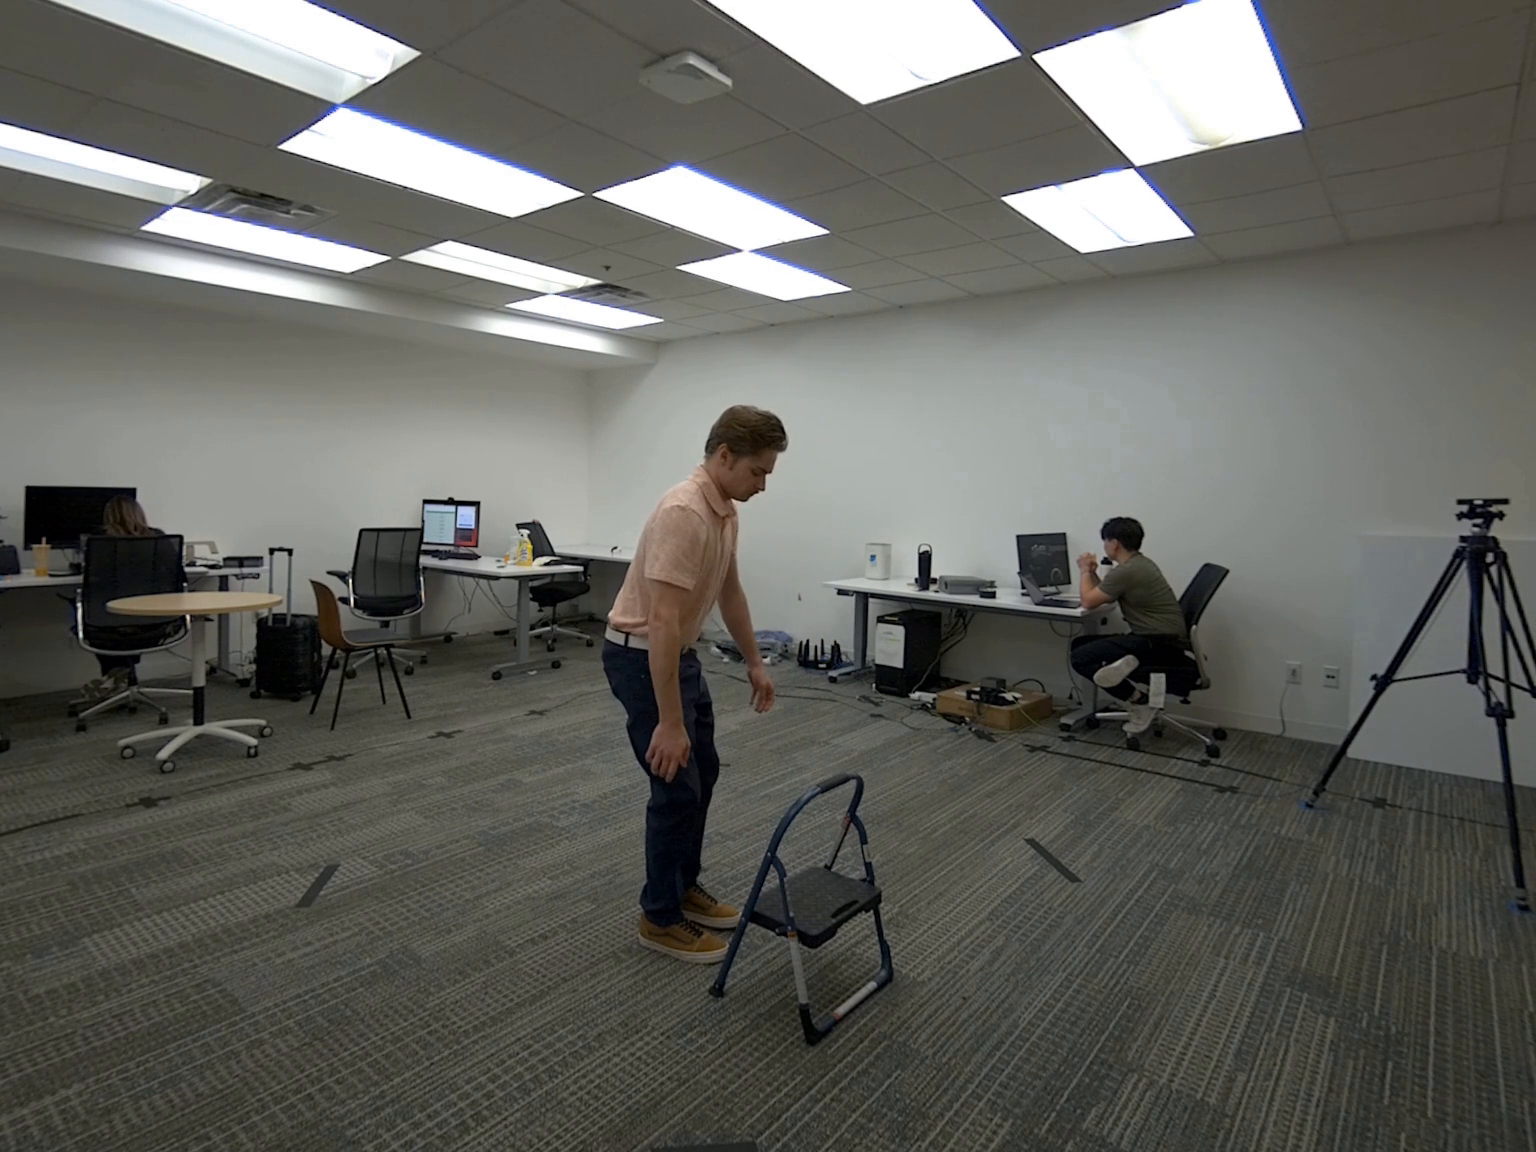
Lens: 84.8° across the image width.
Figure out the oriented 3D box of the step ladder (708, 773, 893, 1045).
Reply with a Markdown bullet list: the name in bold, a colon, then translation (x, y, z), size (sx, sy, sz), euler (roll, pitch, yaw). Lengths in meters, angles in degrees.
- **step ladder**: translation (0.105, 0.846, 2.376), size (0.361, 0.604, 0.418), euler (5, 5, 38)
